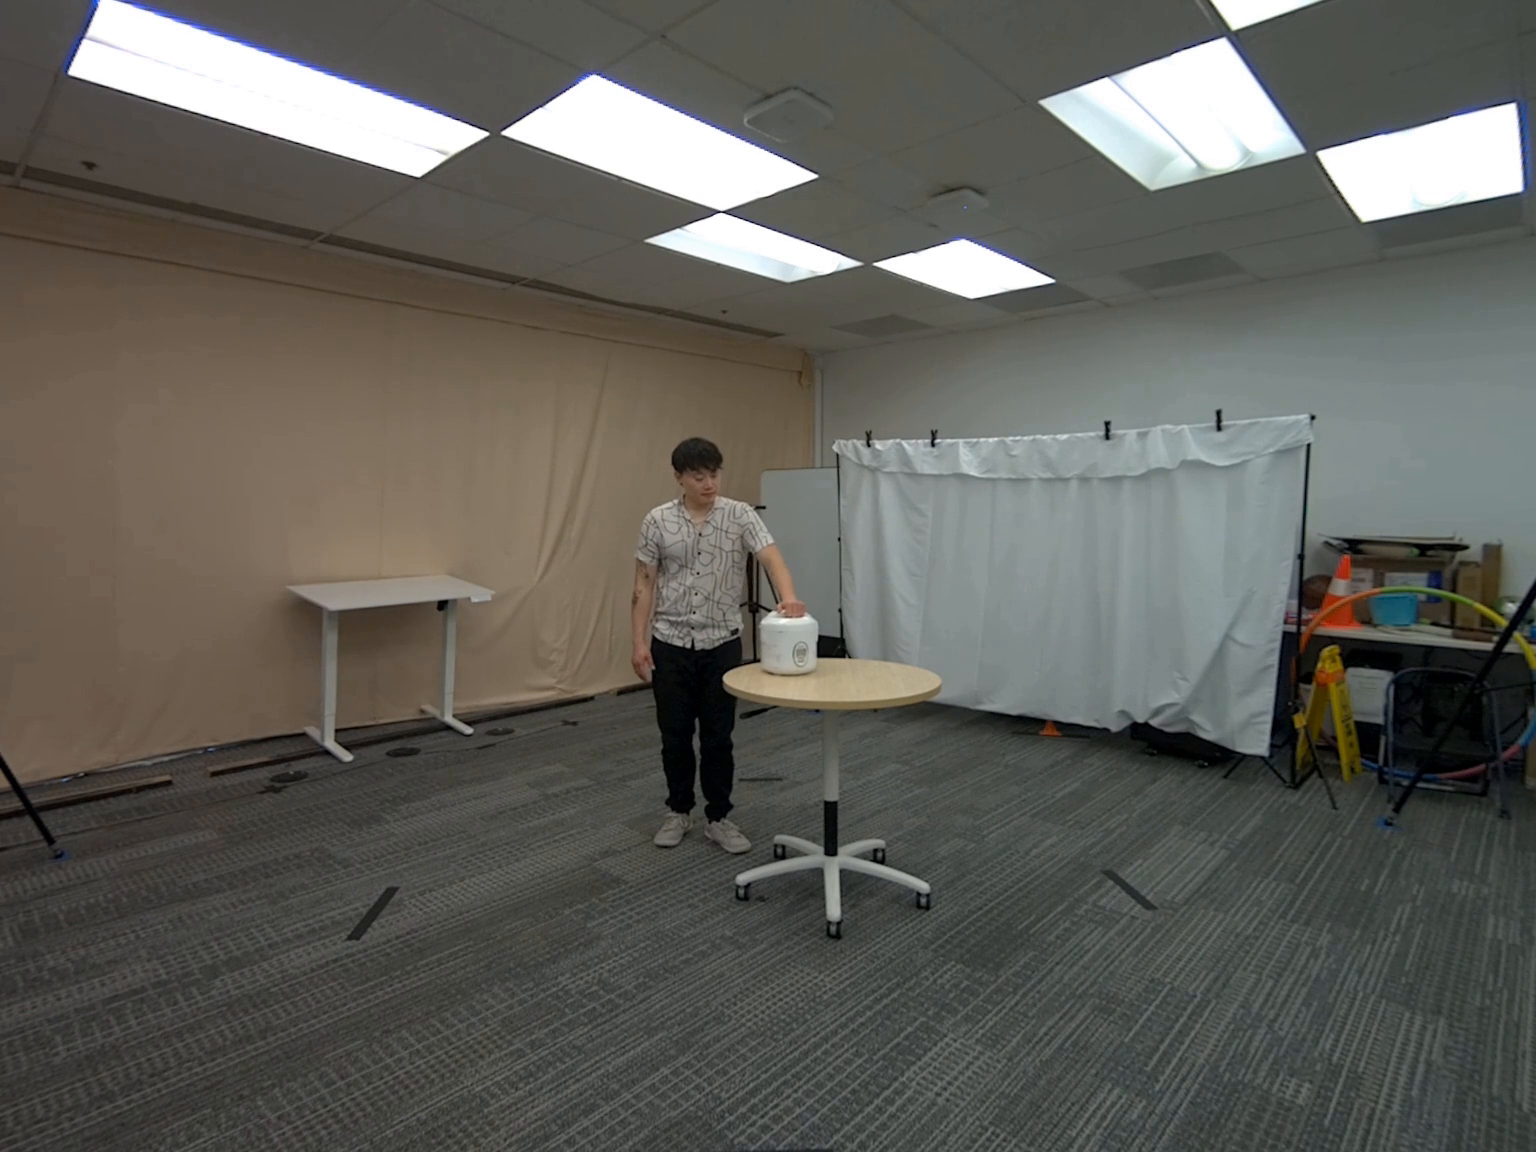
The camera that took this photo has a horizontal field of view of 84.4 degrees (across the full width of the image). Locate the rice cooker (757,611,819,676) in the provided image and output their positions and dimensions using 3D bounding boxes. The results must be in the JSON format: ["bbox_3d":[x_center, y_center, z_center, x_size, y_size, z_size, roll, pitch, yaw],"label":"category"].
[{"bbox_3d":[0.079,0.237,3.100,0.216,0.232,0.222,-2,3,-21],"label":"rice cooker"}]
